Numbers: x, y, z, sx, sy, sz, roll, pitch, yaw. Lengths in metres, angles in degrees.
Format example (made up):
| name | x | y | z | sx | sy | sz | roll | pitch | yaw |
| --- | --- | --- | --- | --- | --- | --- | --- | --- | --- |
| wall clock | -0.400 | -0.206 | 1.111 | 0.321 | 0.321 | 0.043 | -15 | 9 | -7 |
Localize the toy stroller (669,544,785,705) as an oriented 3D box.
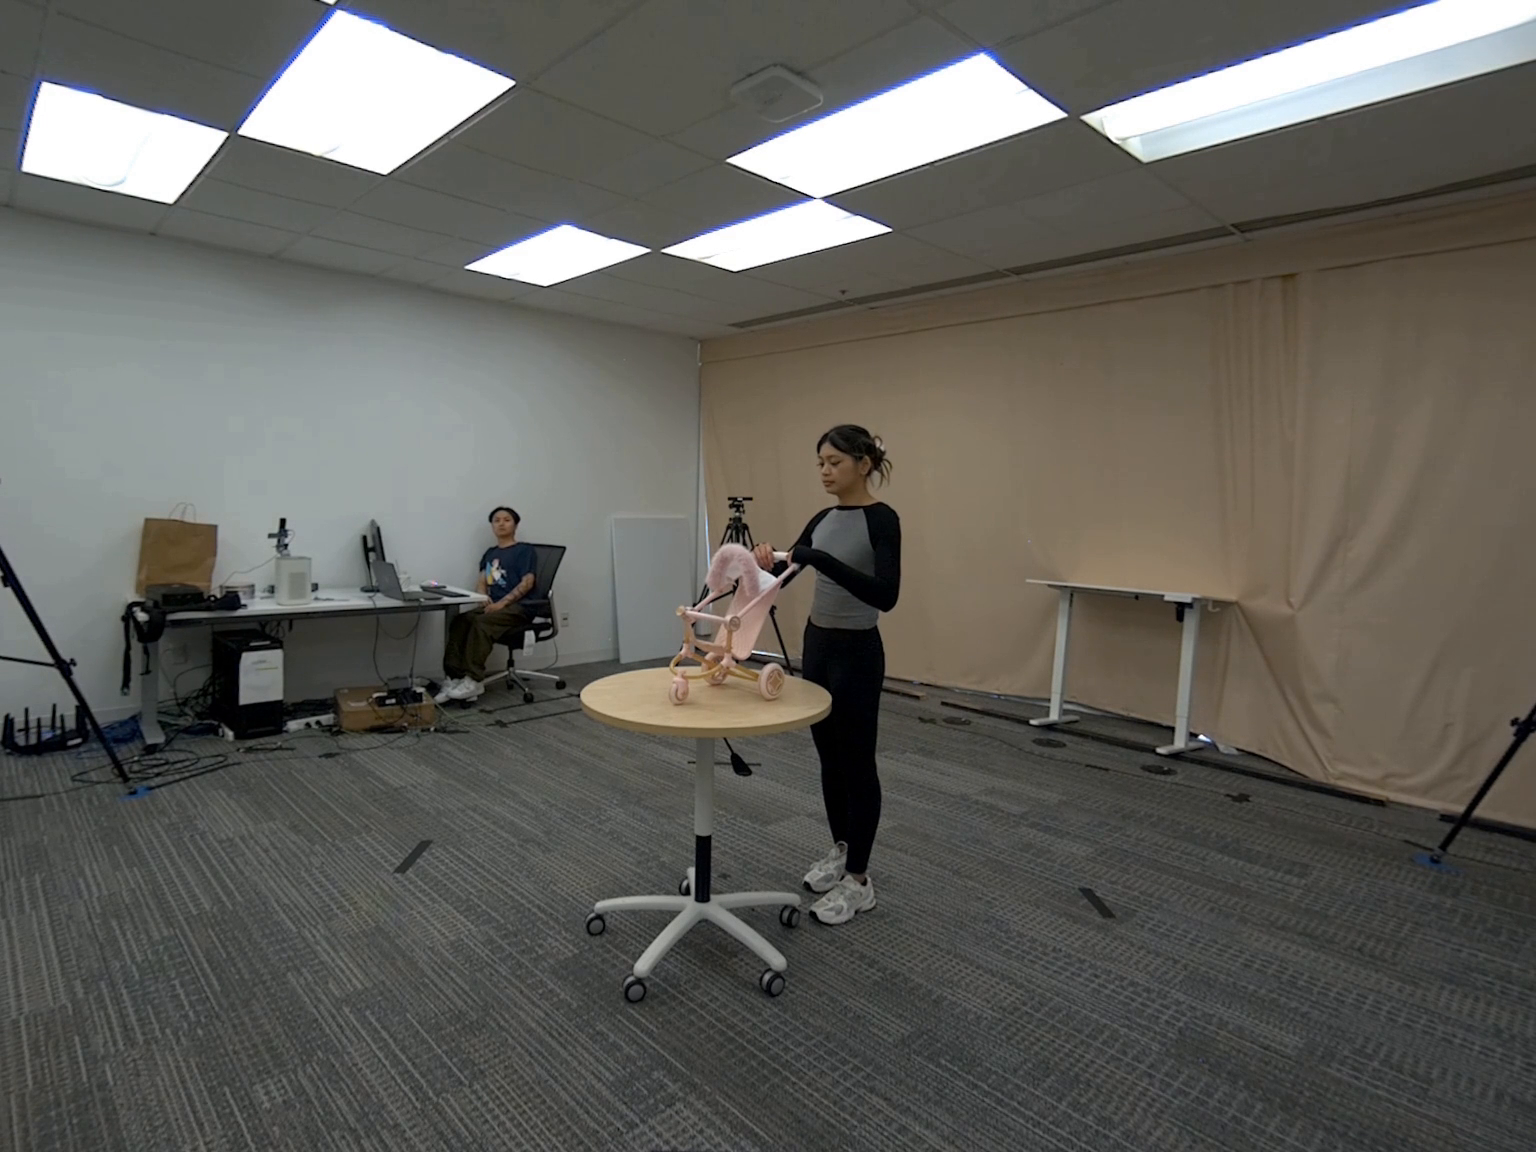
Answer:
| name | x | y | z | sx | sy | sz | roll | pitch | yaw |
| --- | --- | --- | --- | --- | --- | --- | --- | --- | --- |
| toy stroller | -0.119 | 0.142 | 2.547 | 0.331 | 0.537 | 0.288 | 18 | -8 | -39 |
